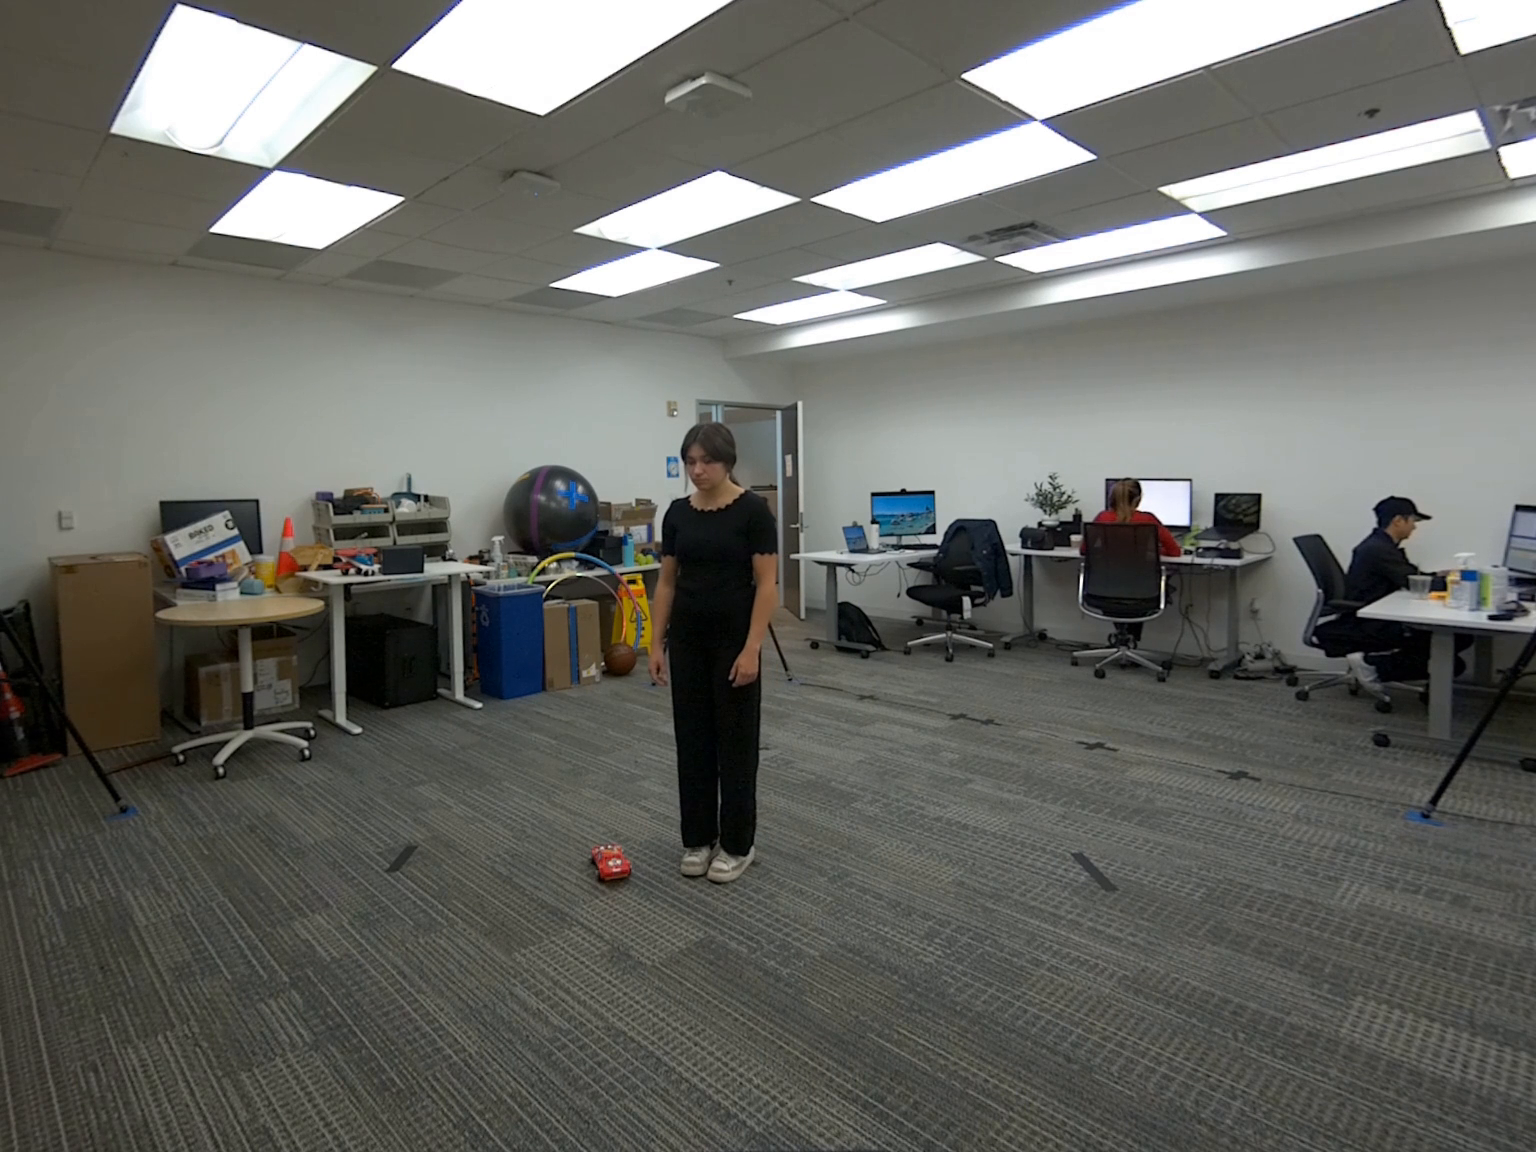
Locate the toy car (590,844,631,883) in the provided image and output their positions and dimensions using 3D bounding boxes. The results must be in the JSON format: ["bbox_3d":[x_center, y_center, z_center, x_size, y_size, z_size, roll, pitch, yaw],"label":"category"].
[{"bbox_3d":[-0.561,1.026,3.055,0.128,0.084,0.257,-4,-4,-20],"label":"toy car"}]
